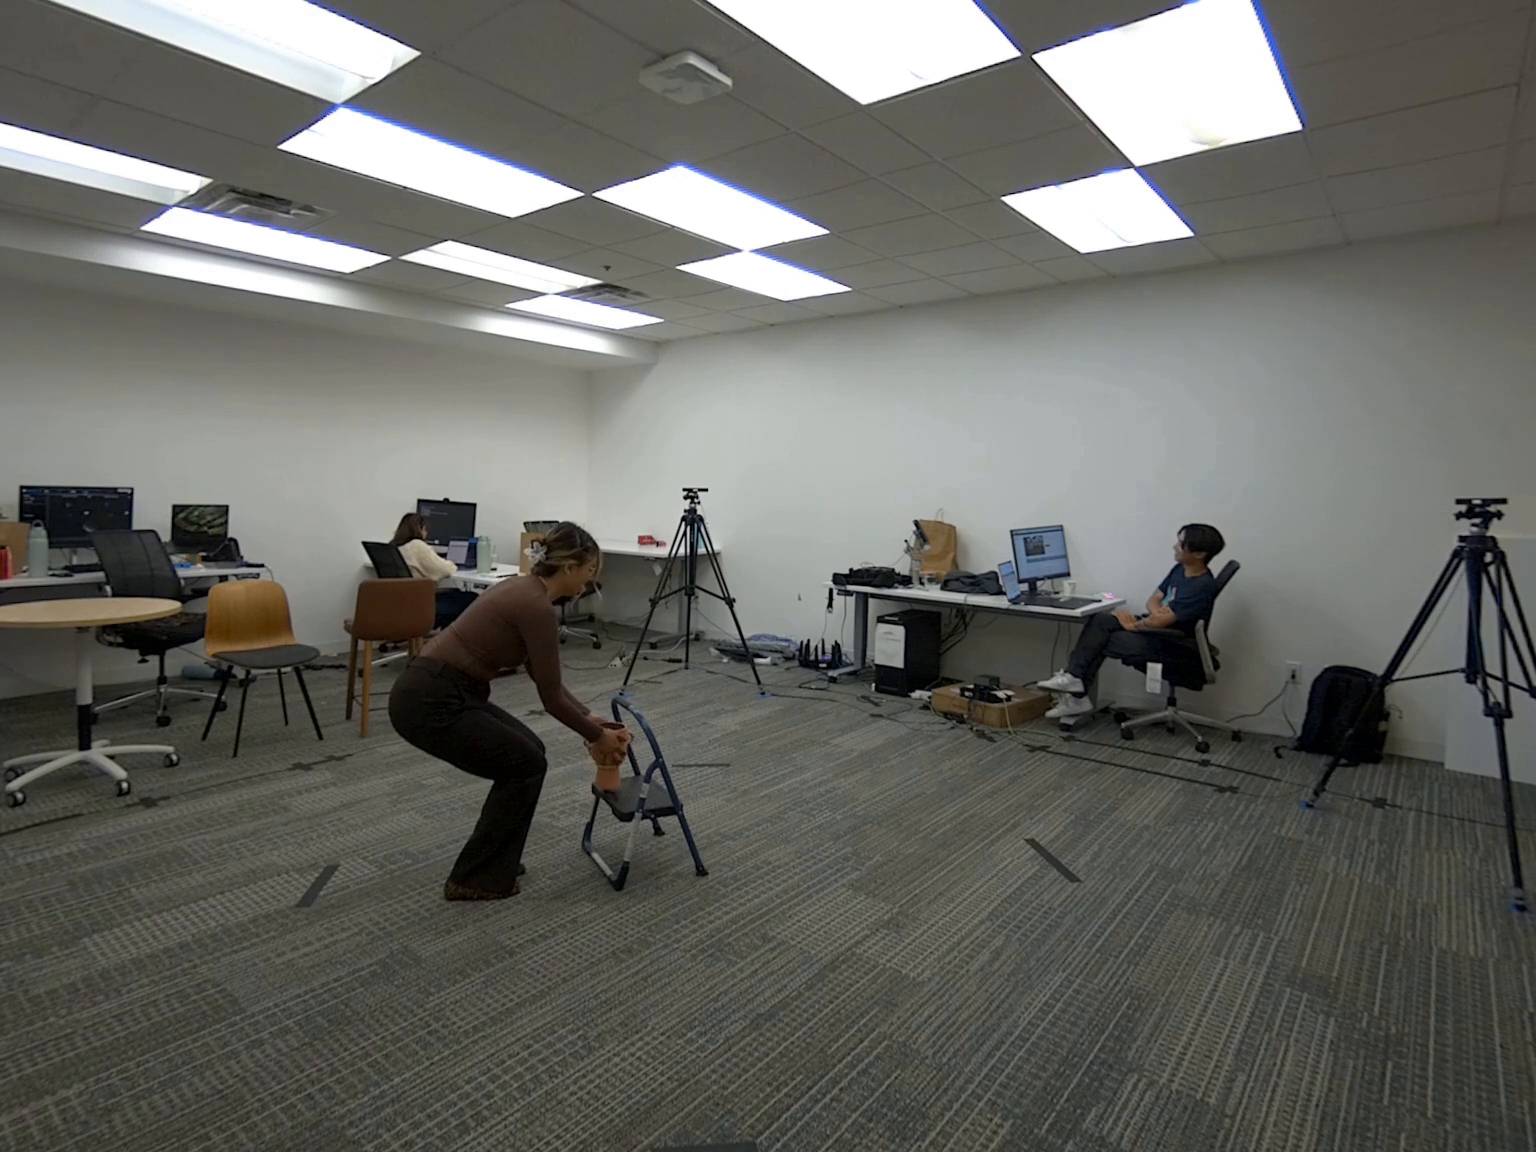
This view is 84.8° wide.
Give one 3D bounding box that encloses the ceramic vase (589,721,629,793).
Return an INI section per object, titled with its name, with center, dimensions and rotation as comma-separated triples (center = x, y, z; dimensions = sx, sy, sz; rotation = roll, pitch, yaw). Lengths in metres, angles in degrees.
[ceramic vase]
center = -0.605, 0.664, 3.149
dimensions = 0.160, 0.219, 0.134
rotation = 4, 5, 8
